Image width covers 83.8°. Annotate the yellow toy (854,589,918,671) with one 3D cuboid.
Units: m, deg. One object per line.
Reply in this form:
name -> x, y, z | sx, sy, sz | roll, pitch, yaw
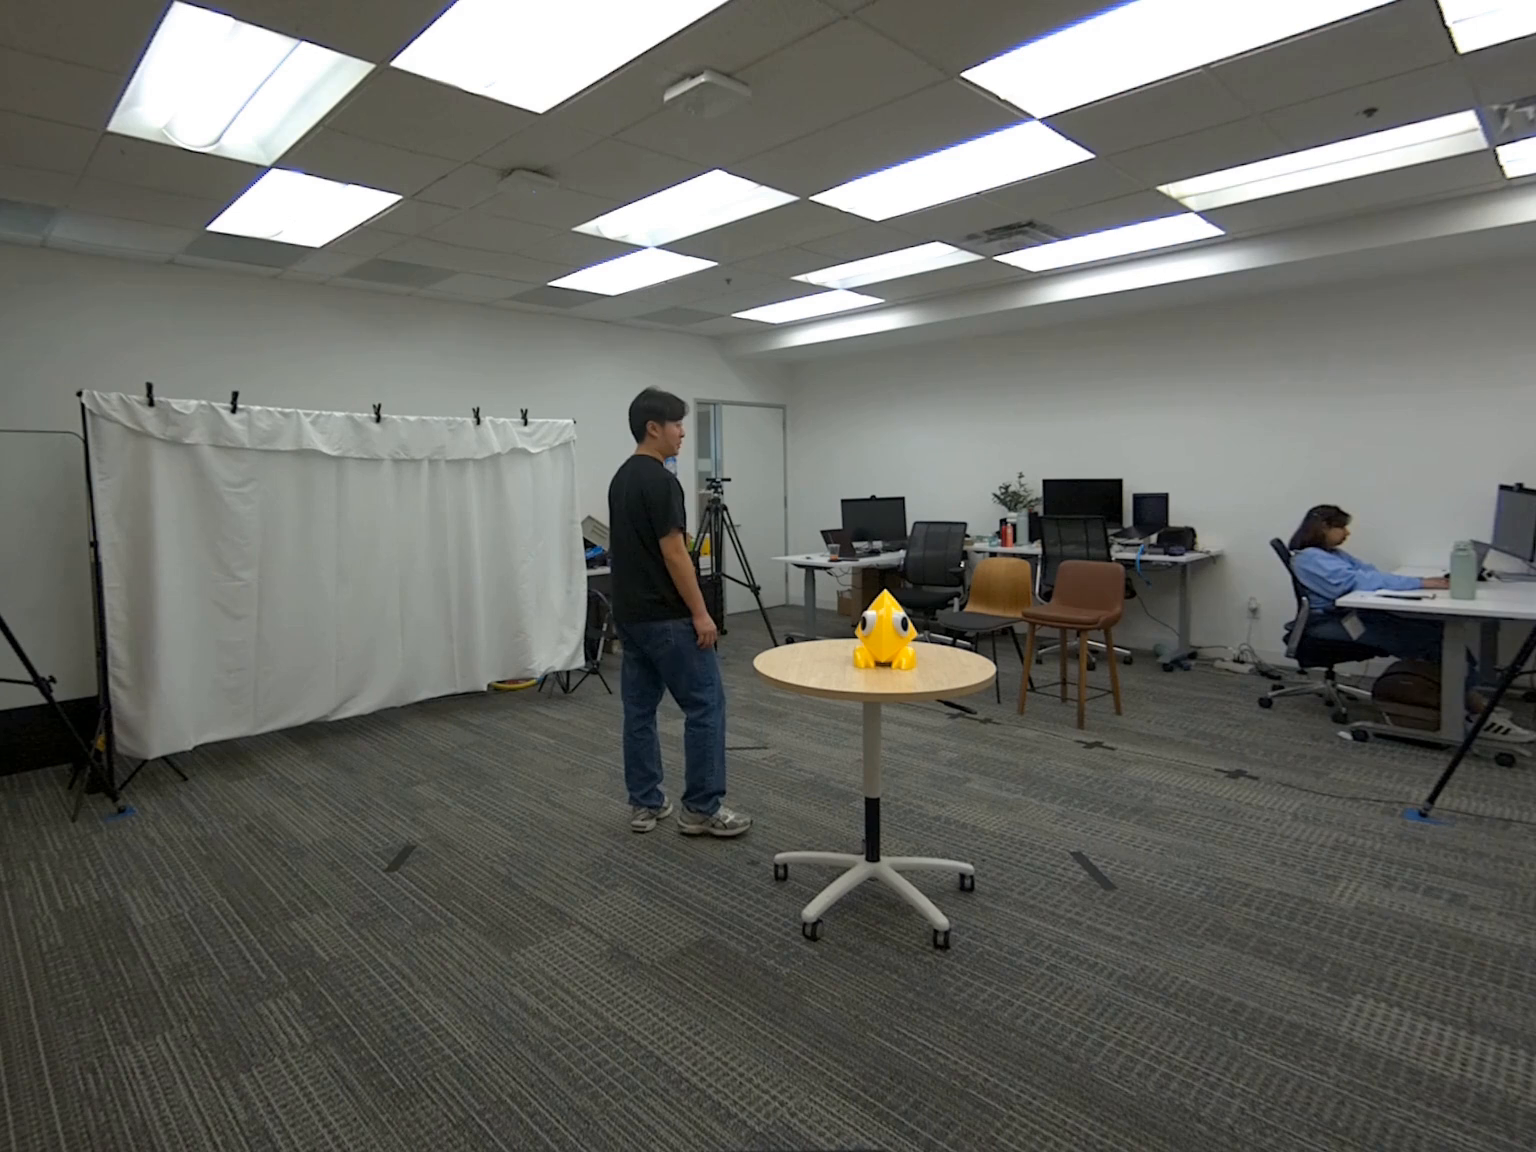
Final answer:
yellow toy -> 0.377, 0.166, 2.737 | 0.207, 0.230, 0.191 | 0, 5, 12
